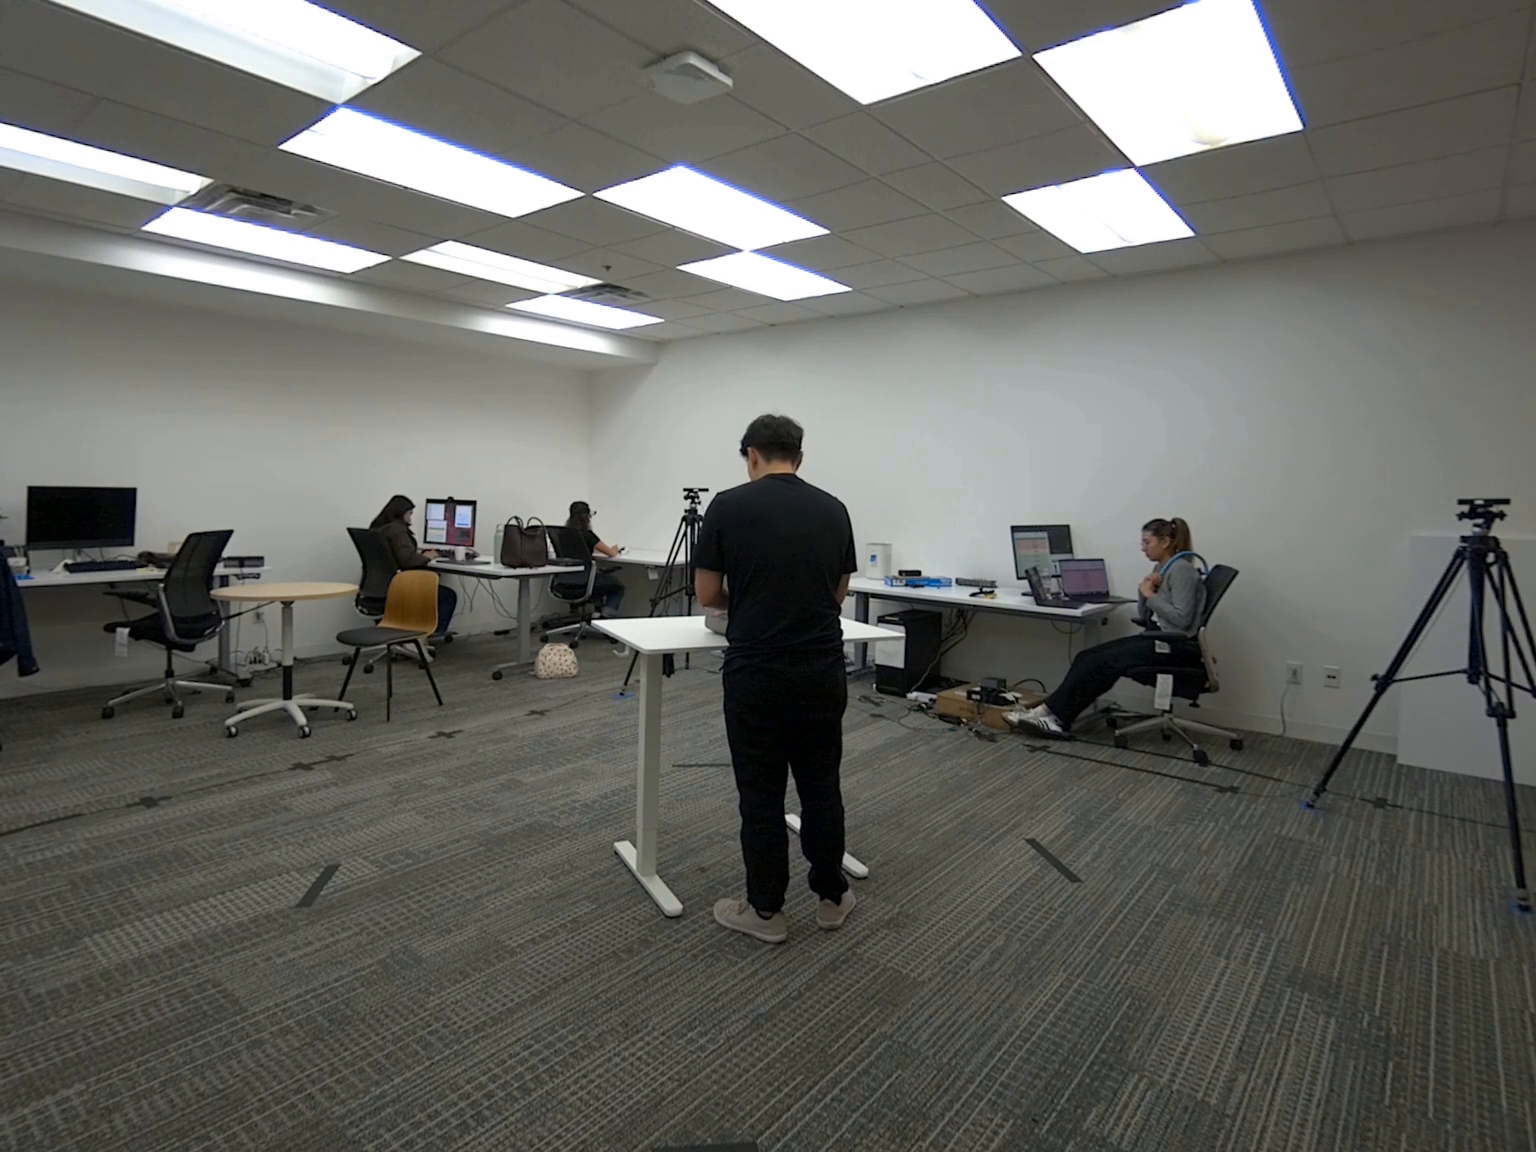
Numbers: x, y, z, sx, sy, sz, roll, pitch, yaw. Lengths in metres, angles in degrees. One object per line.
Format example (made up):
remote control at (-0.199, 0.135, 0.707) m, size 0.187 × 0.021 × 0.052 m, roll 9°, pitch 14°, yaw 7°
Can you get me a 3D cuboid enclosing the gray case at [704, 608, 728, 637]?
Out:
gray case at (-0.106, 0.075, 2.942) m, size 0.101 × 0.261 × 0.265 m, roll 10°, pitch -2°, yaw -36°
